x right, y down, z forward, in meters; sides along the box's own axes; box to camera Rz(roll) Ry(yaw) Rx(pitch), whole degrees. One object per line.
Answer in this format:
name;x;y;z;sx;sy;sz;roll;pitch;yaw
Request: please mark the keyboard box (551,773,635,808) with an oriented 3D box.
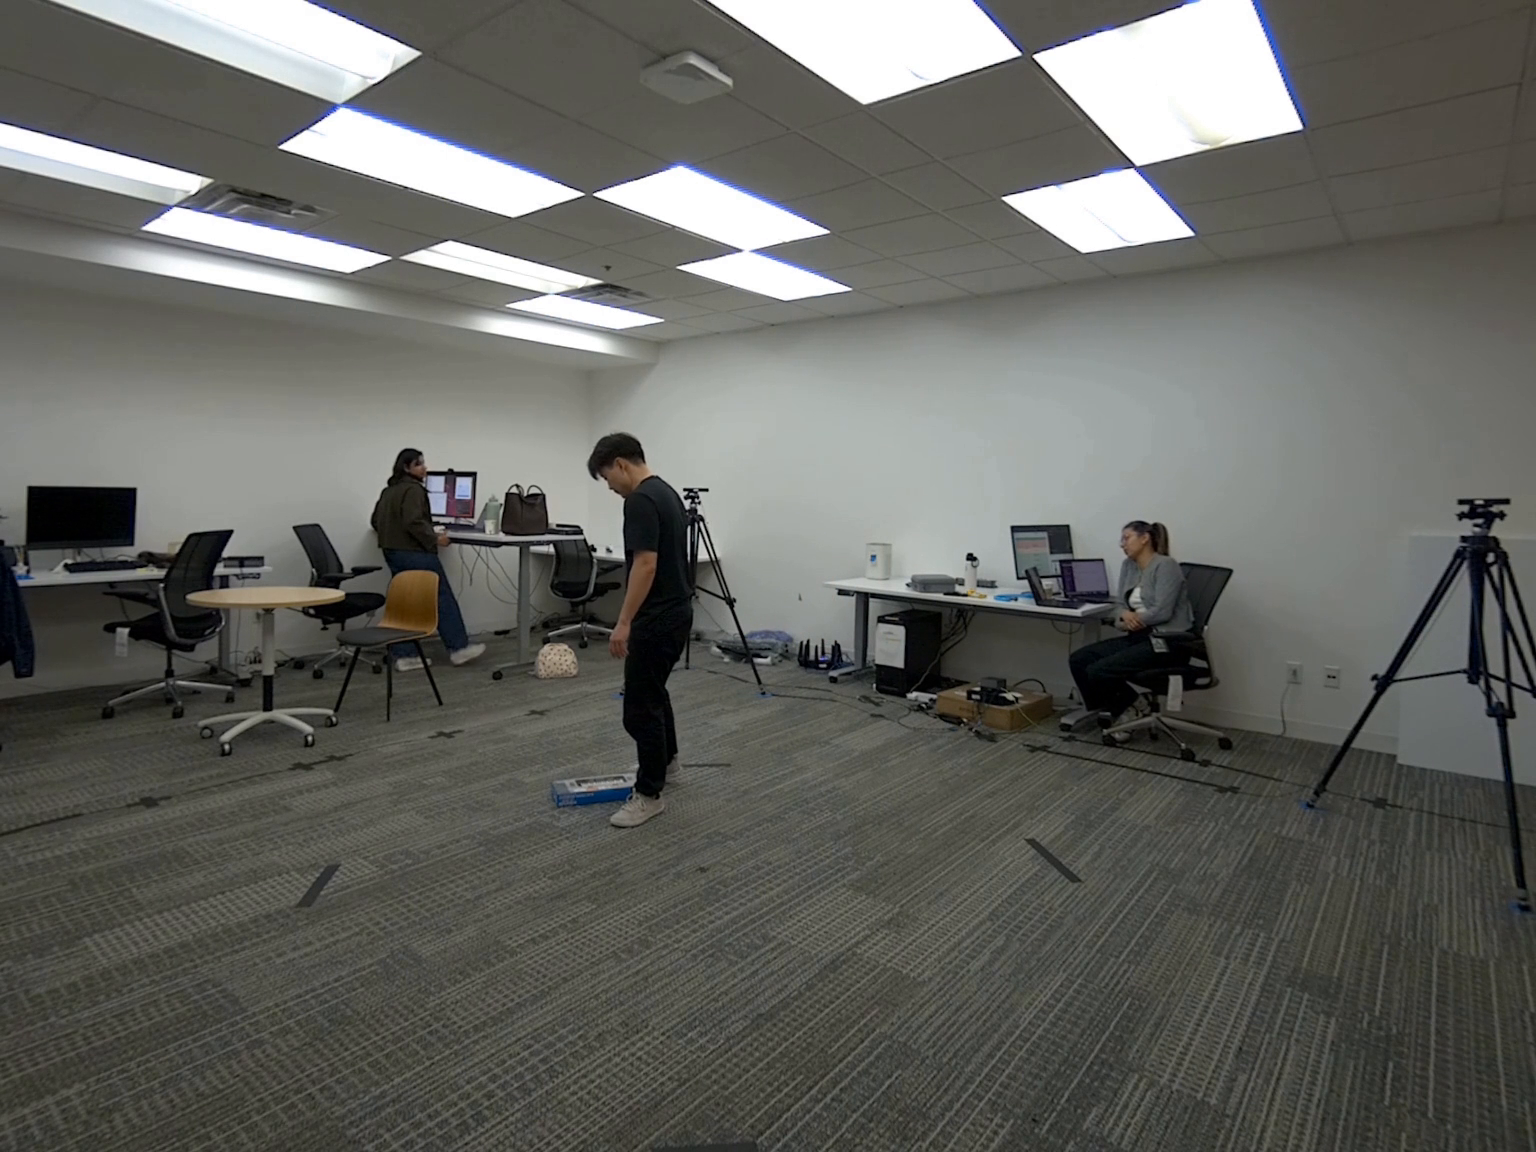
keyboard box;-0.765;0.962;3.844;0.428;0.059;0.180;-1;6;-21
